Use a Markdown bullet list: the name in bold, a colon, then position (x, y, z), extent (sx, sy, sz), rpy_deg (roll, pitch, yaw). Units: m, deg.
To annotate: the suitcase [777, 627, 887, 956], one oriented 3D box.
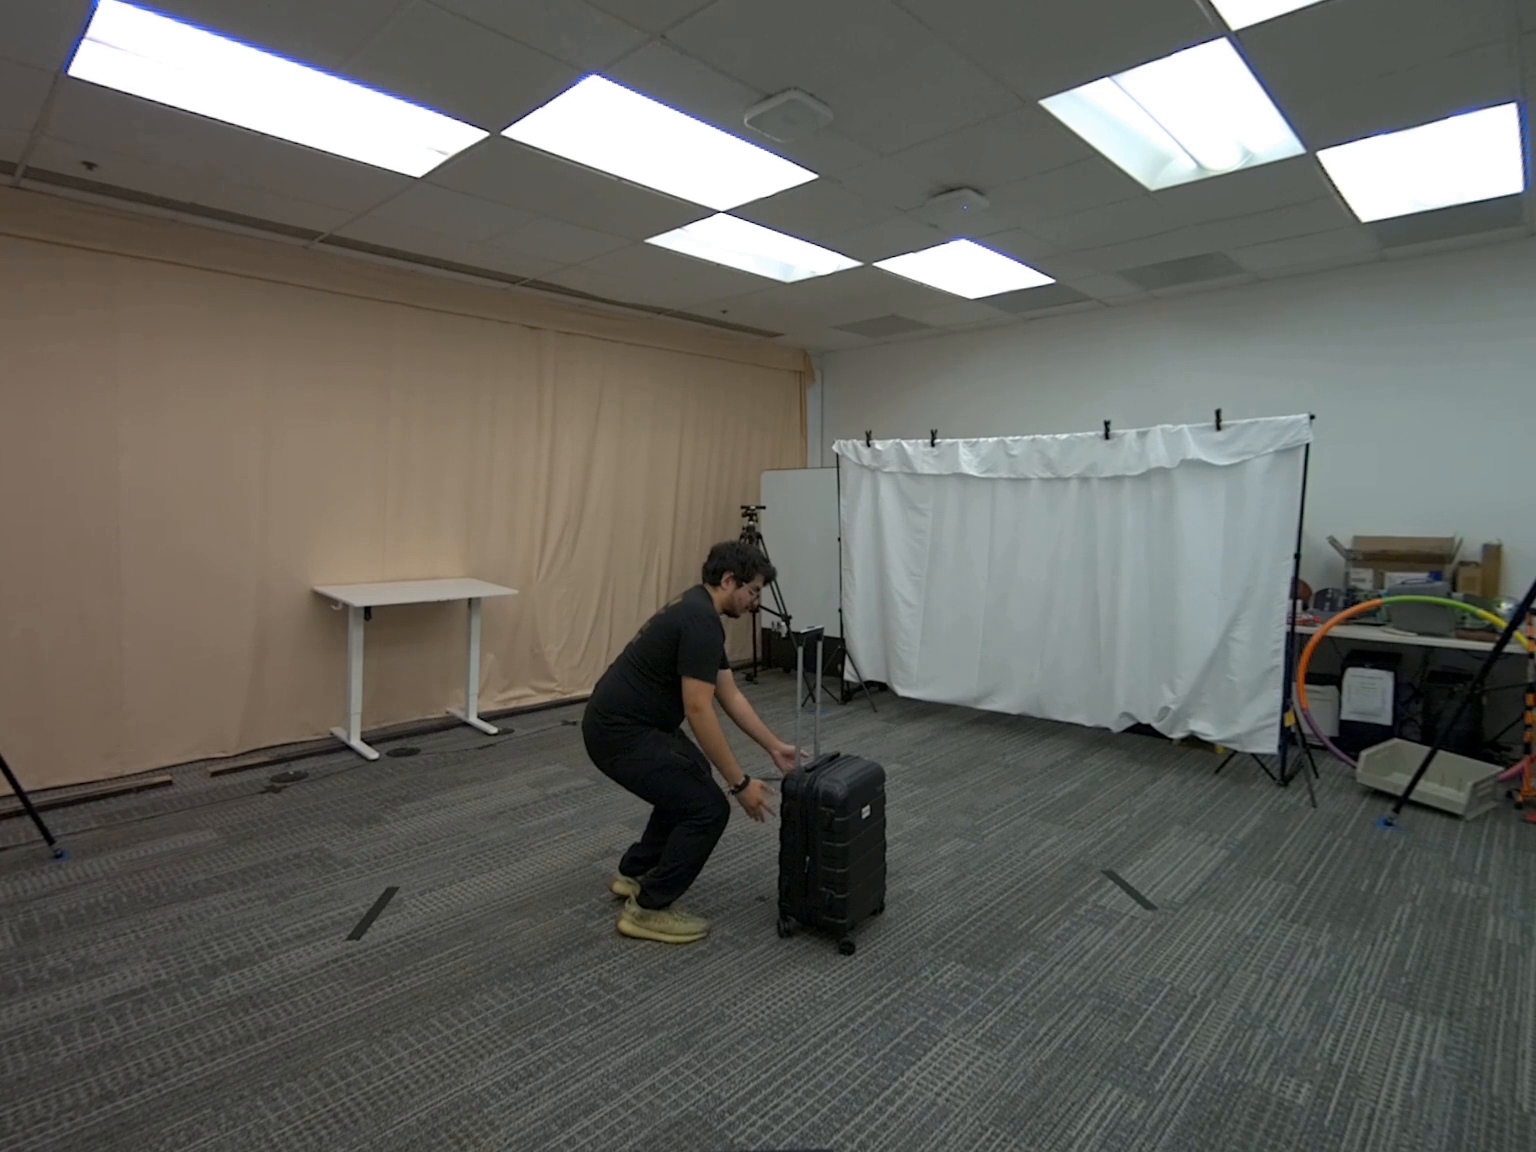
- **suitcase**: position (0.229, 0.685, 2.772), extent (0.265, 0.976, 0.373), rpy_deg (4, 5, 32)
